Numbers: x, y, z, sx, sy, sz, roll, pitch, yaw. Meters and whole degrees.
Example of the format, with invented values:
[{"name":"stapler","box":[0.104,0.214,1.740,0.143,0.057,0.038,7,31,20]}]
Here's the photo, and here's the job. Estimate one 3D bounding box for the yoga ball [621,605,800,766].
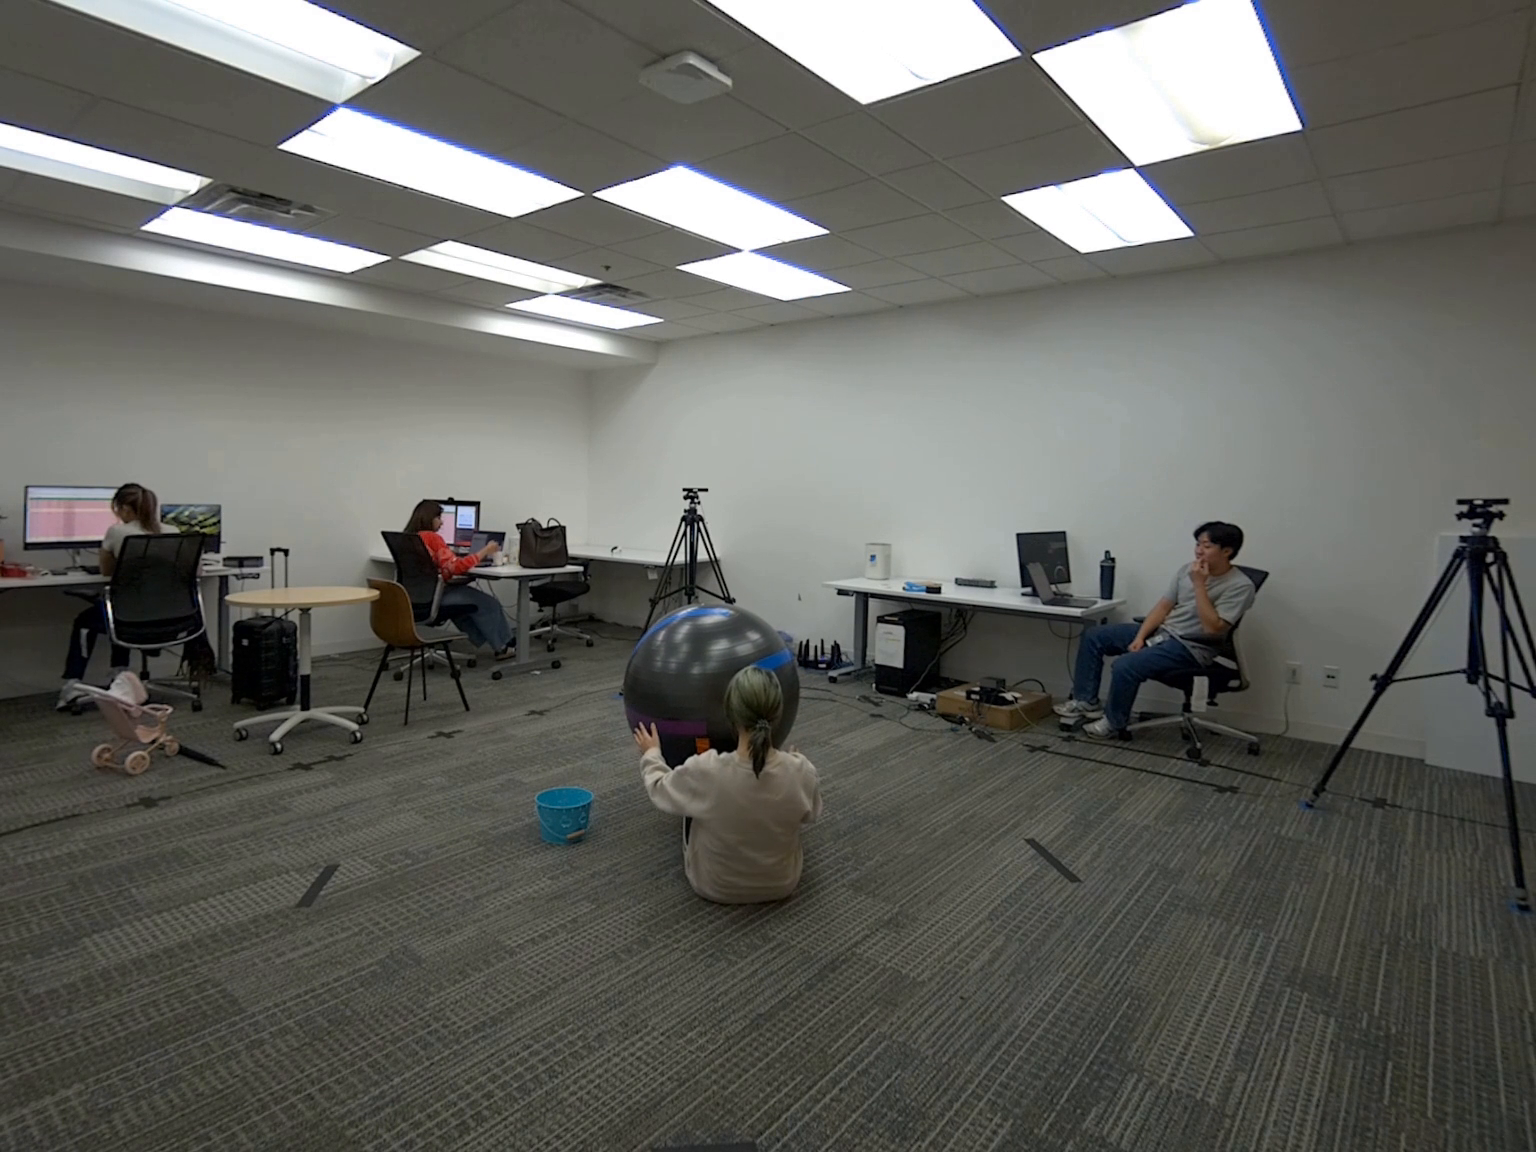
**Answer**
[{"name":"yoga ball","box":[-0.255,0.495,3.667,0.757,0.756,0.761,1,4,-2]}]
